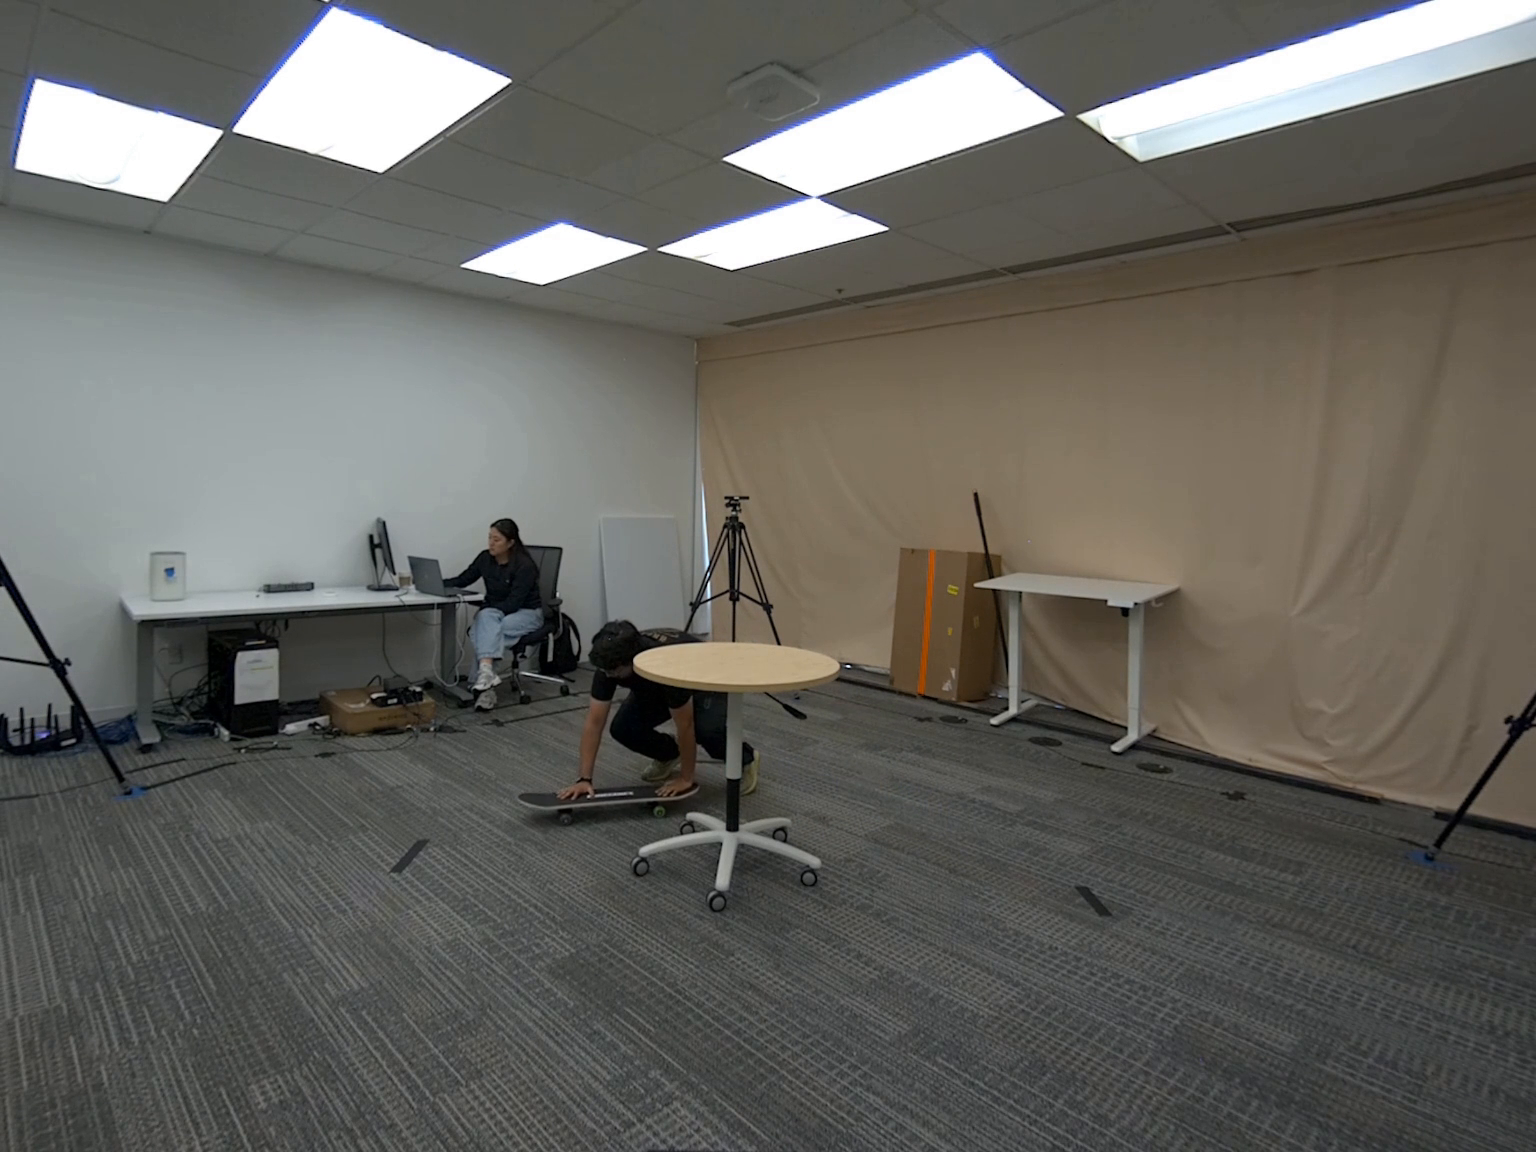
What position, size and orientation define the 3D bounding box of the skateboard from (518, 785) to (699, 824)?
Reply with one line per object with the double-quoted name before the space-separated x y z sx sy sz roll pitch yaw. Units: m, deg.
"skateboard" -0.691 0.983 3.657 0.775 0.110 0.196 0 3 -17
